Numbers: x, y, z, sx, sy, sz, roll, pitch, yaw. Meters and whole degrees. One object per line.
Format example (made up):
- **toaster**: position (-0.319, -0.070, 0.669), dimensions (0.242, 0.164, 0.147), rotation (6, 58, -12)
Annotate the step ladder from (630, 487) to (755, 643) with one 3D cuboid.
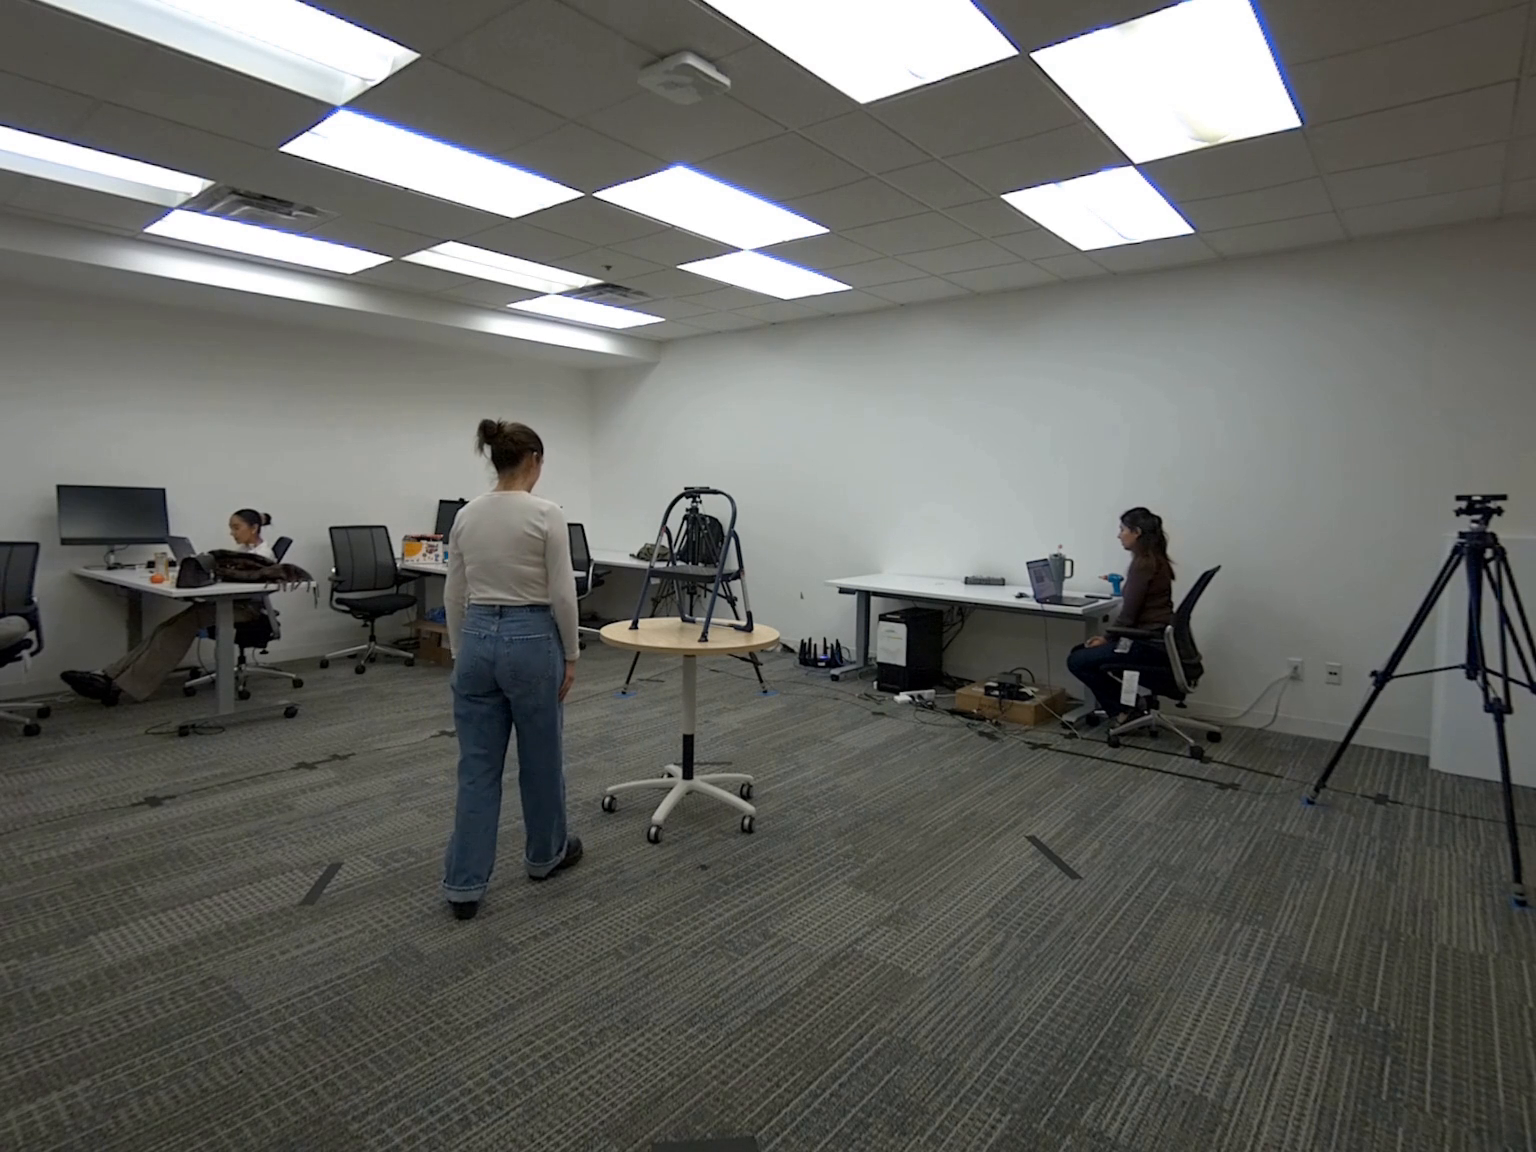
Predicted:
- **step ladder**: position (-0.327, -0.071, 3.629), dimensions (0.445, 0.604, 0.339), rotation (5, 5, 37)
